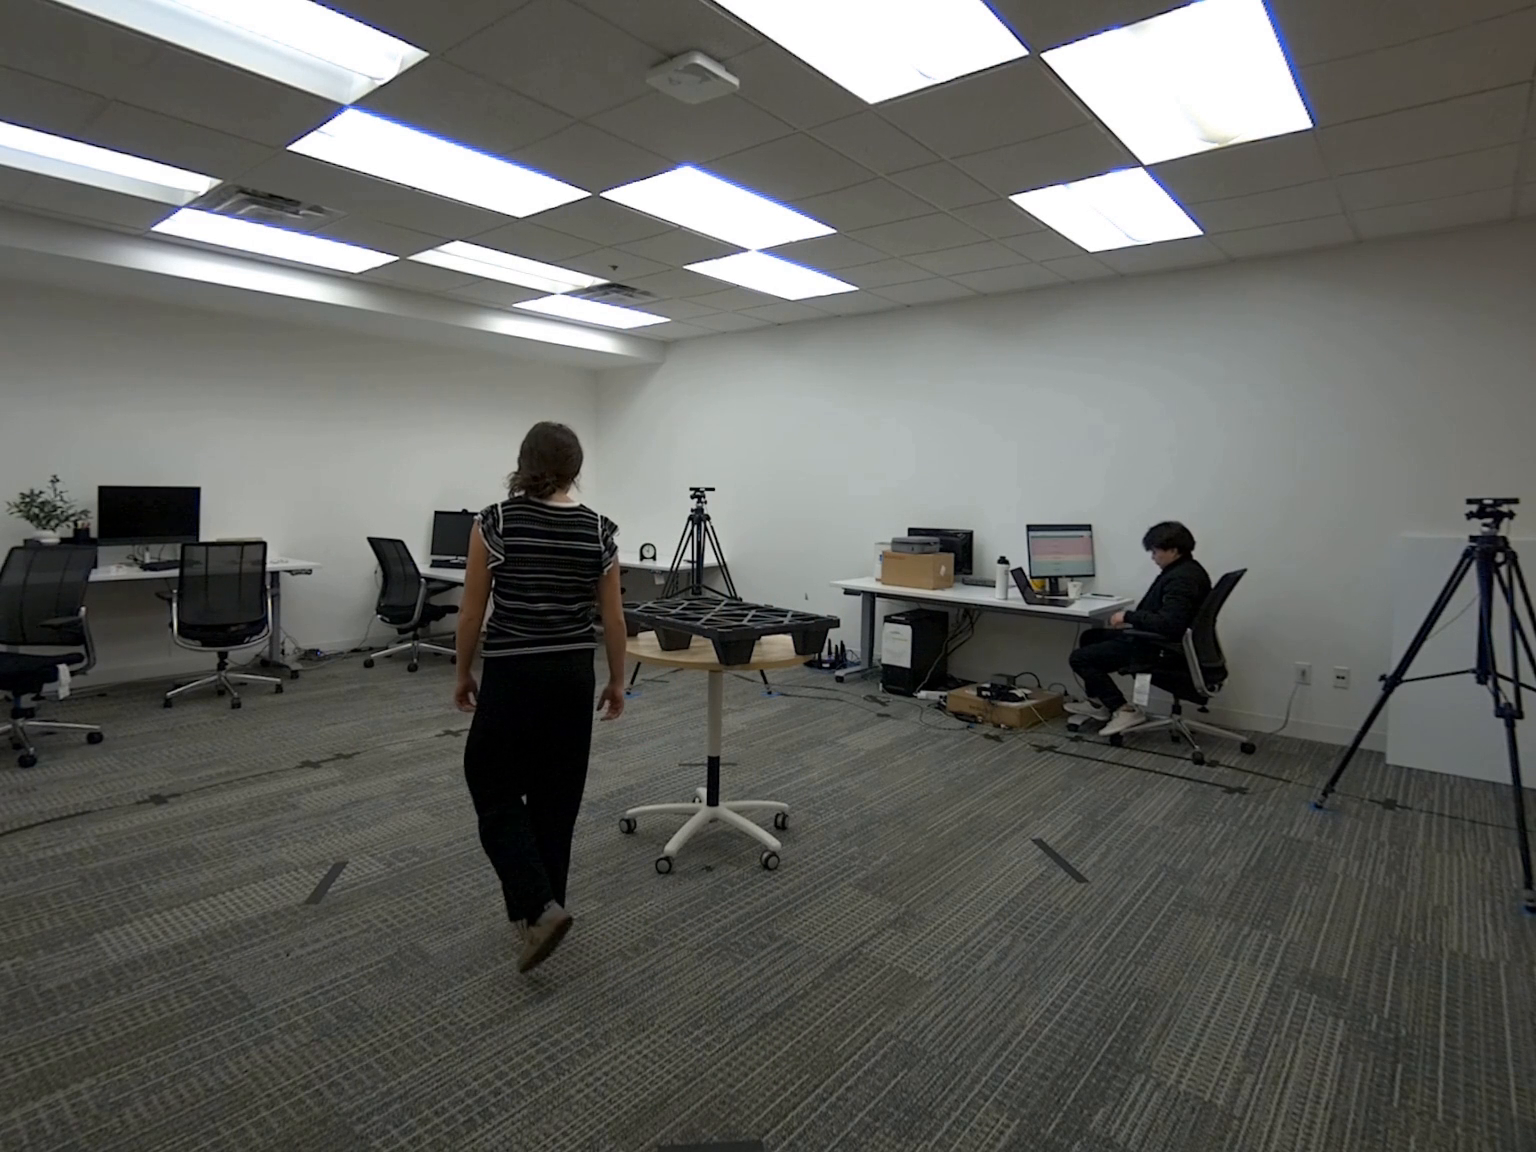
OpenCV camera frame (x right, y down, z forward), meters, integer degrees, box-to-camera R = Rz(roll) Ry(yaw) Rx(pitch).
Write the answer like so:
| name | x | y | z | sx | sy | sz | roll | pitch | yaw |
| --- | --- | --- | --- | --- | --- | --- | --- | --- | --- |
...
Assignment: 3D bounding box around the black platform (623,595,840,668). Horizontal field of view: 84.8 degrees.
| name | x | y | z | sx | sy | sz | roll | pitch | yaw |
| --- | --- | --- | --- | --- | --- | --- | --- | --- | --- |
| black platform | -0.231 | 0.202 | 3.318 | 0.586 | 0.143 | 0.833 | -3 | 7 | -42 |
